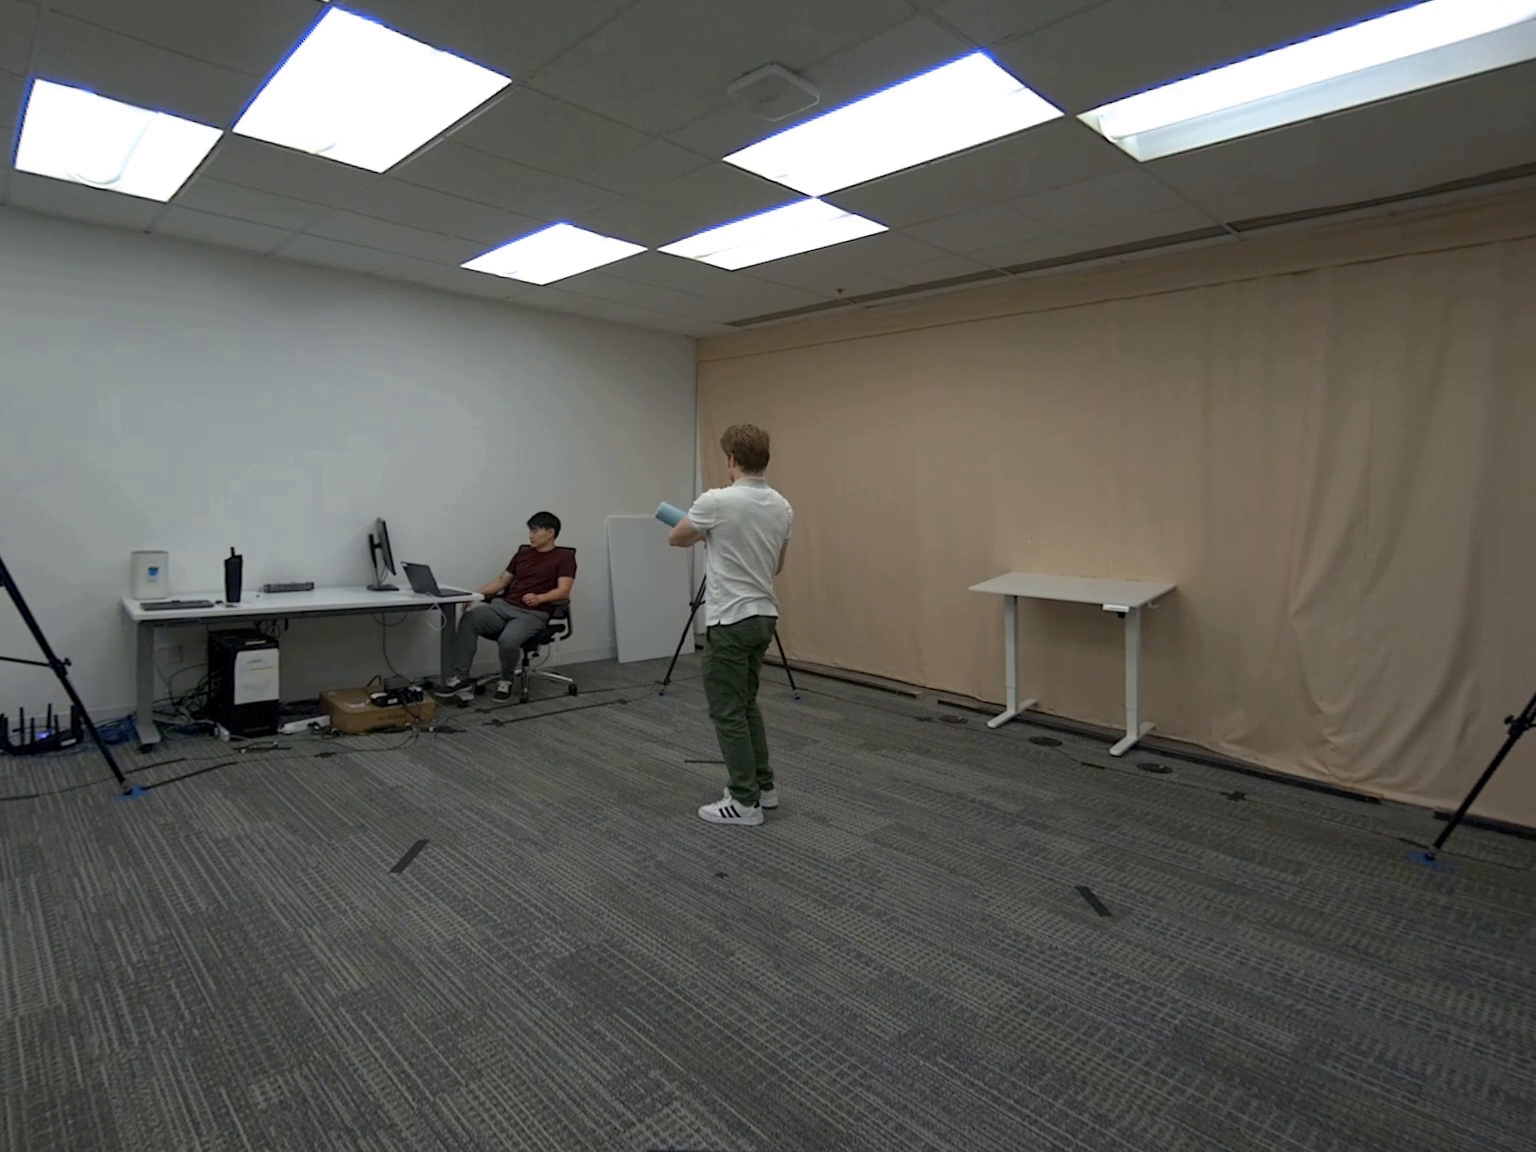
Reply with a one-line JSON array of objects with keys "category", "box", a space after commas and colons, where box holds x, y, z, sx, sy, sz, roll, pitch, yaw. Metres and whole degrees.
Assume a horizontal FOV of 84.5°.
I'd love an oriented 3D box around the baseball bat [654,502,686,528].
[{"category": "baseball bat", "box": [-0.298, -0.184, 3.985, 0.537, 0.089, 0.090, 30, -1, -10]}]
